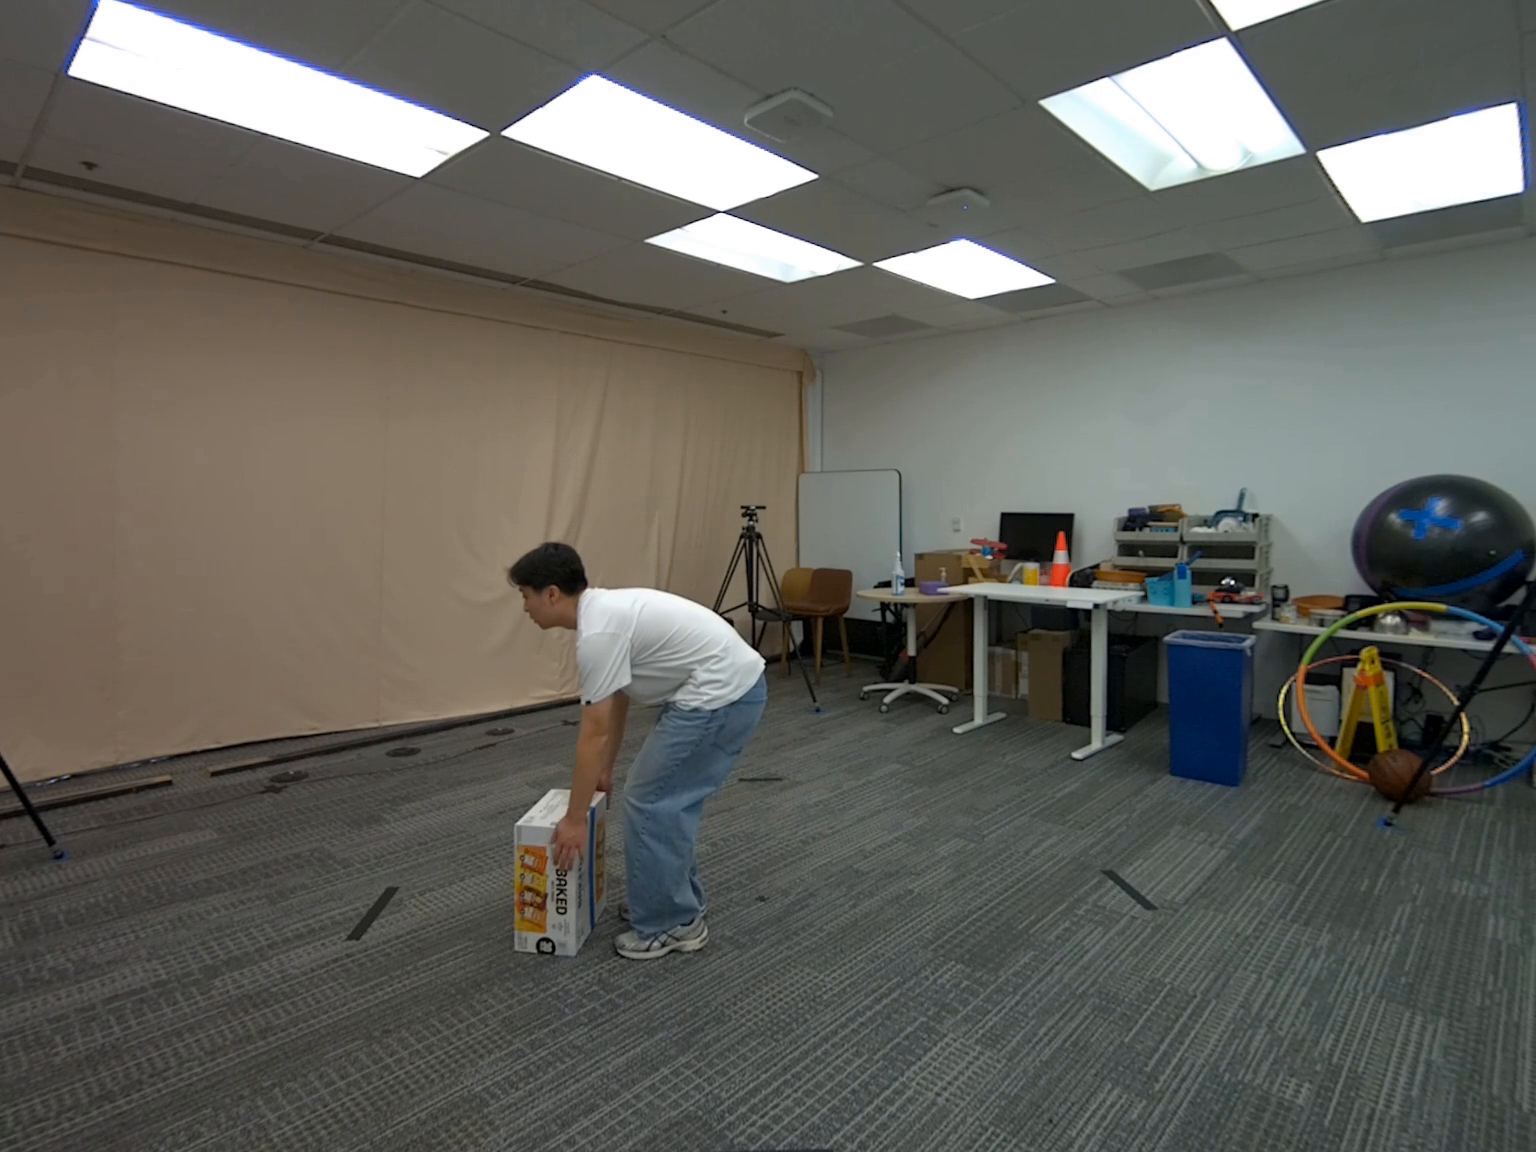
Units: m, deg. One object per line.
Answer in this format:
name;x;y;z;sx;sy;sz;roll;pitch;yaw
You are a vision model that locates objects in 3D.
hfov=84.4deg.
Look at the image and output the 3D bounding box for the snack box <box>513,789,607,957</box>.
snack box;-0.679;0.965;2.768;0.207;0.404;0.338;1;3;6
